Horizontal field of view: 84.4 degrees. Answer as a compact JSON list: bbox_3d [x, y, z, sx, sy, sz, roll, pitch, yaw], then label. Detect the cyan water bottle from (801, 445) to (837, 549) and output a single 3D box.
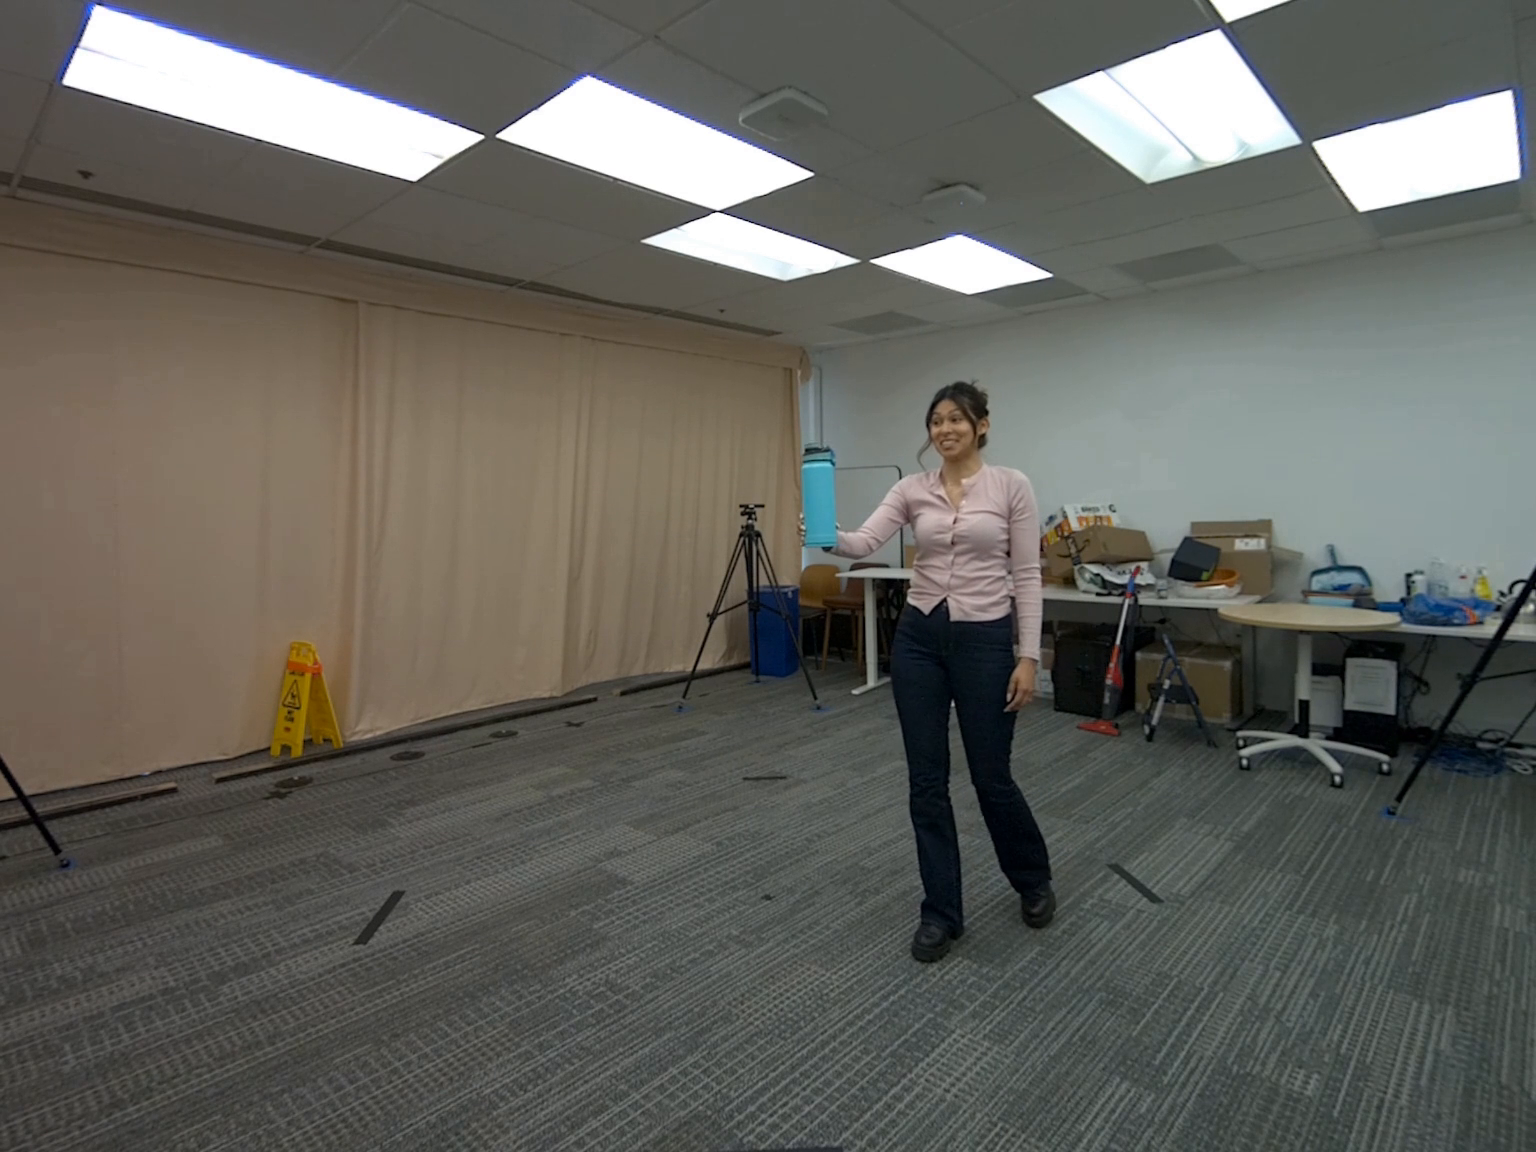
[{"bbox_3d":[0.151,-0.224,2.289,0.092,0.283,0.092,-2,0,-2],"label":"cyan water bottle"}]
